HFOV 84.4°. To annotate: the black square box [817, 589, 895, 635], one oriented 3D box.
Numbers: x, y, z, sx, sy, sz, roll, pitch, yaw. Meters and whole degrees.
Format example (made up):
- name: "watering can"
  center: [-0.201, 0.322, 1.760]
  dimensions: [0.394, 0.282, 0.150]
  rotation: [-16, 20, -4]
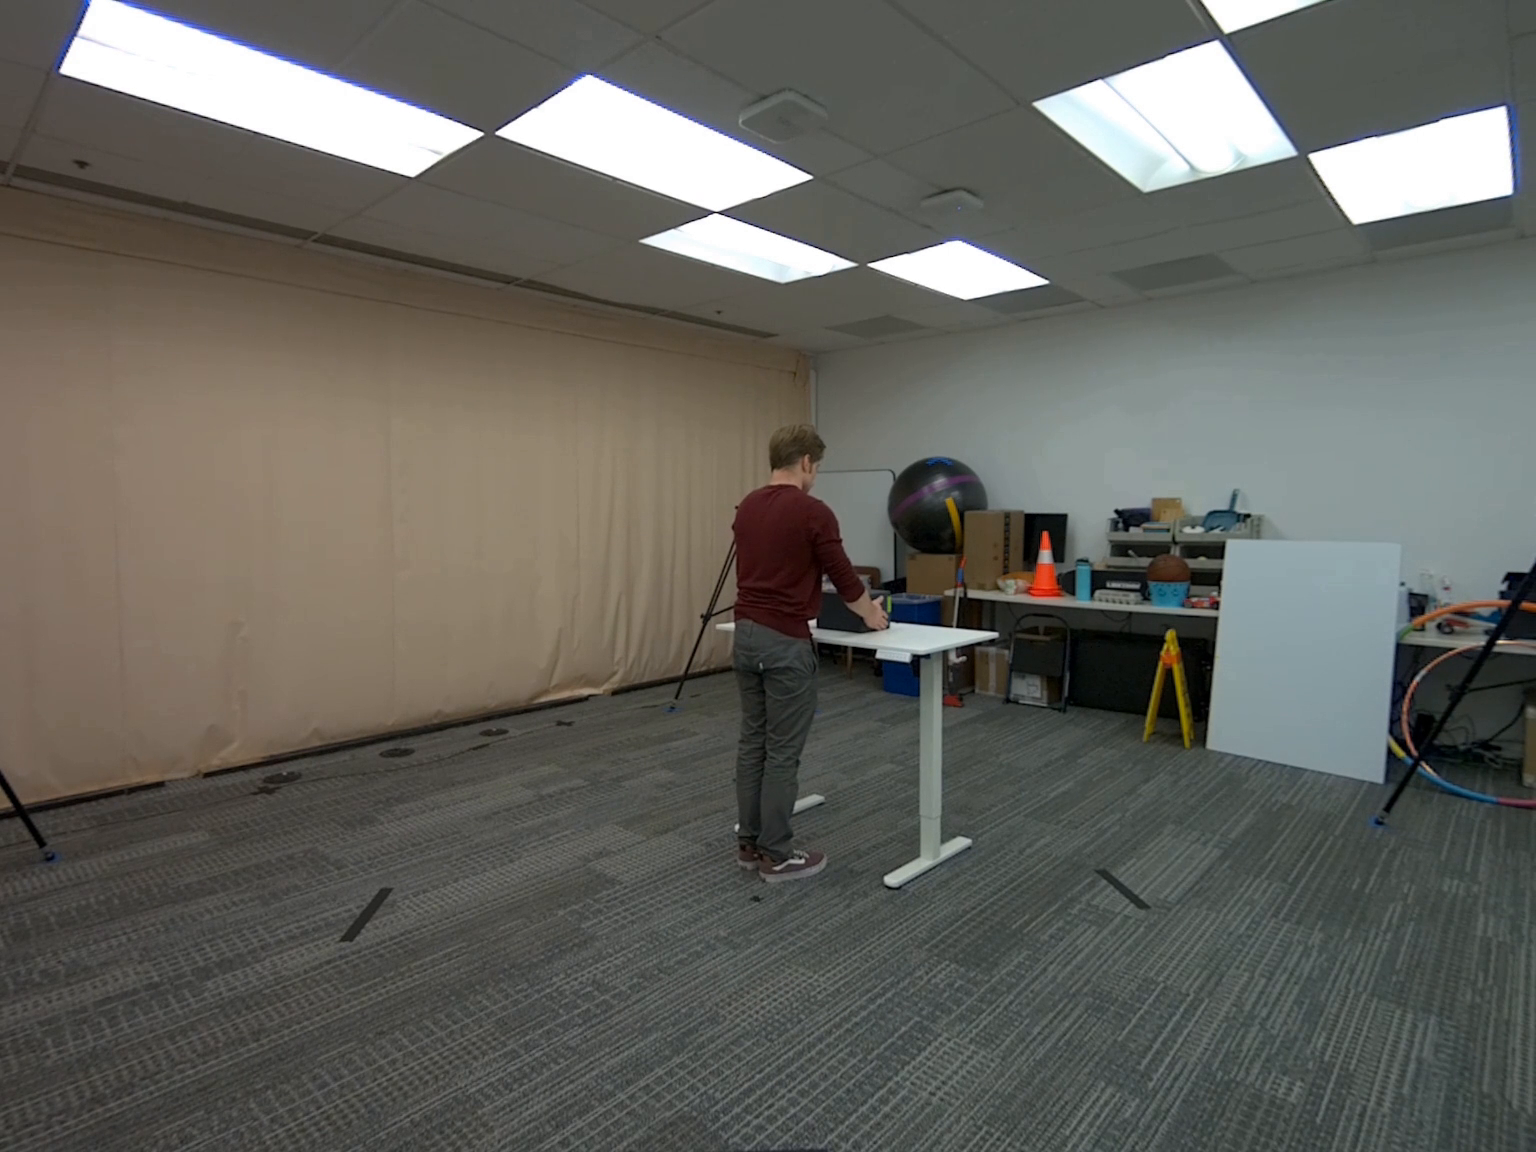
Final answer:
- name: "black square box"
  center: [0.360, 0.139, 3.490]
  dimensions: [0.235, 0.155, 0.210]
  rotation: [3, 4, 42]
